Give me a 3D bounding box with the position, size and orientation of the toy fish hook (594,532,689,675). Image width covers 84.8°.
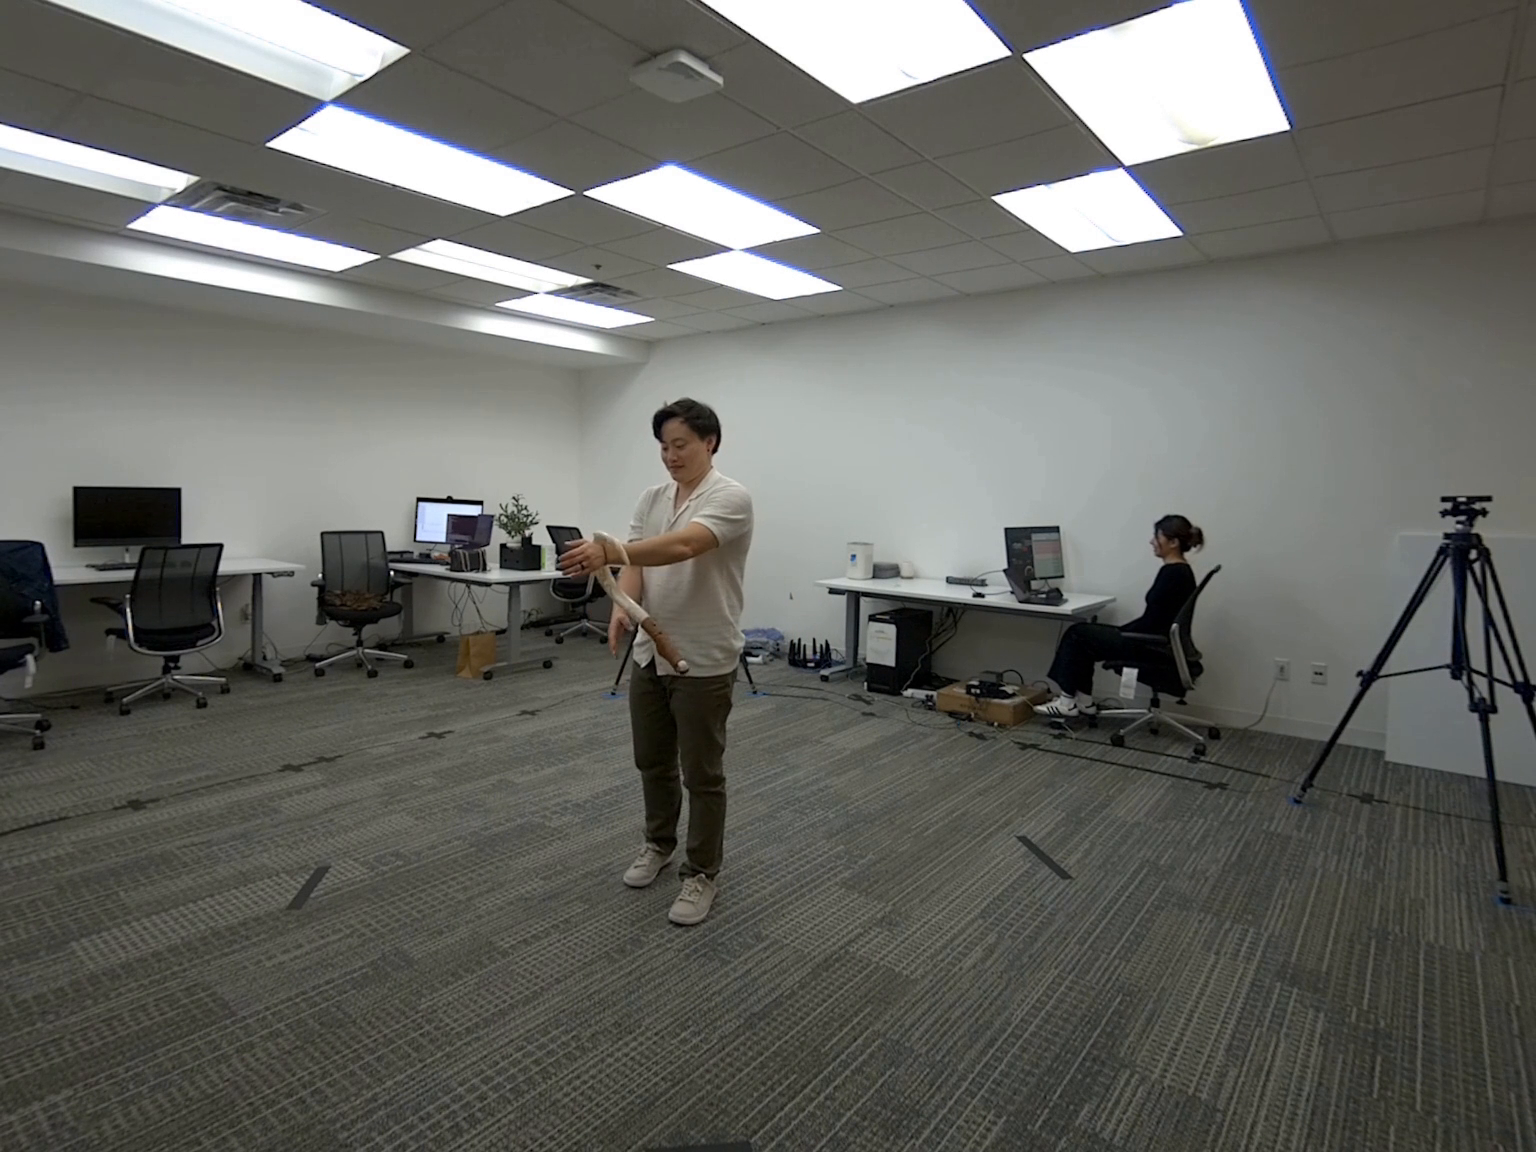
[{"bbox_3d":[-0.382,0.067,2.403,0.047,0.219,0.527,-21,53,-23],"label":"toy fish hook"}]
